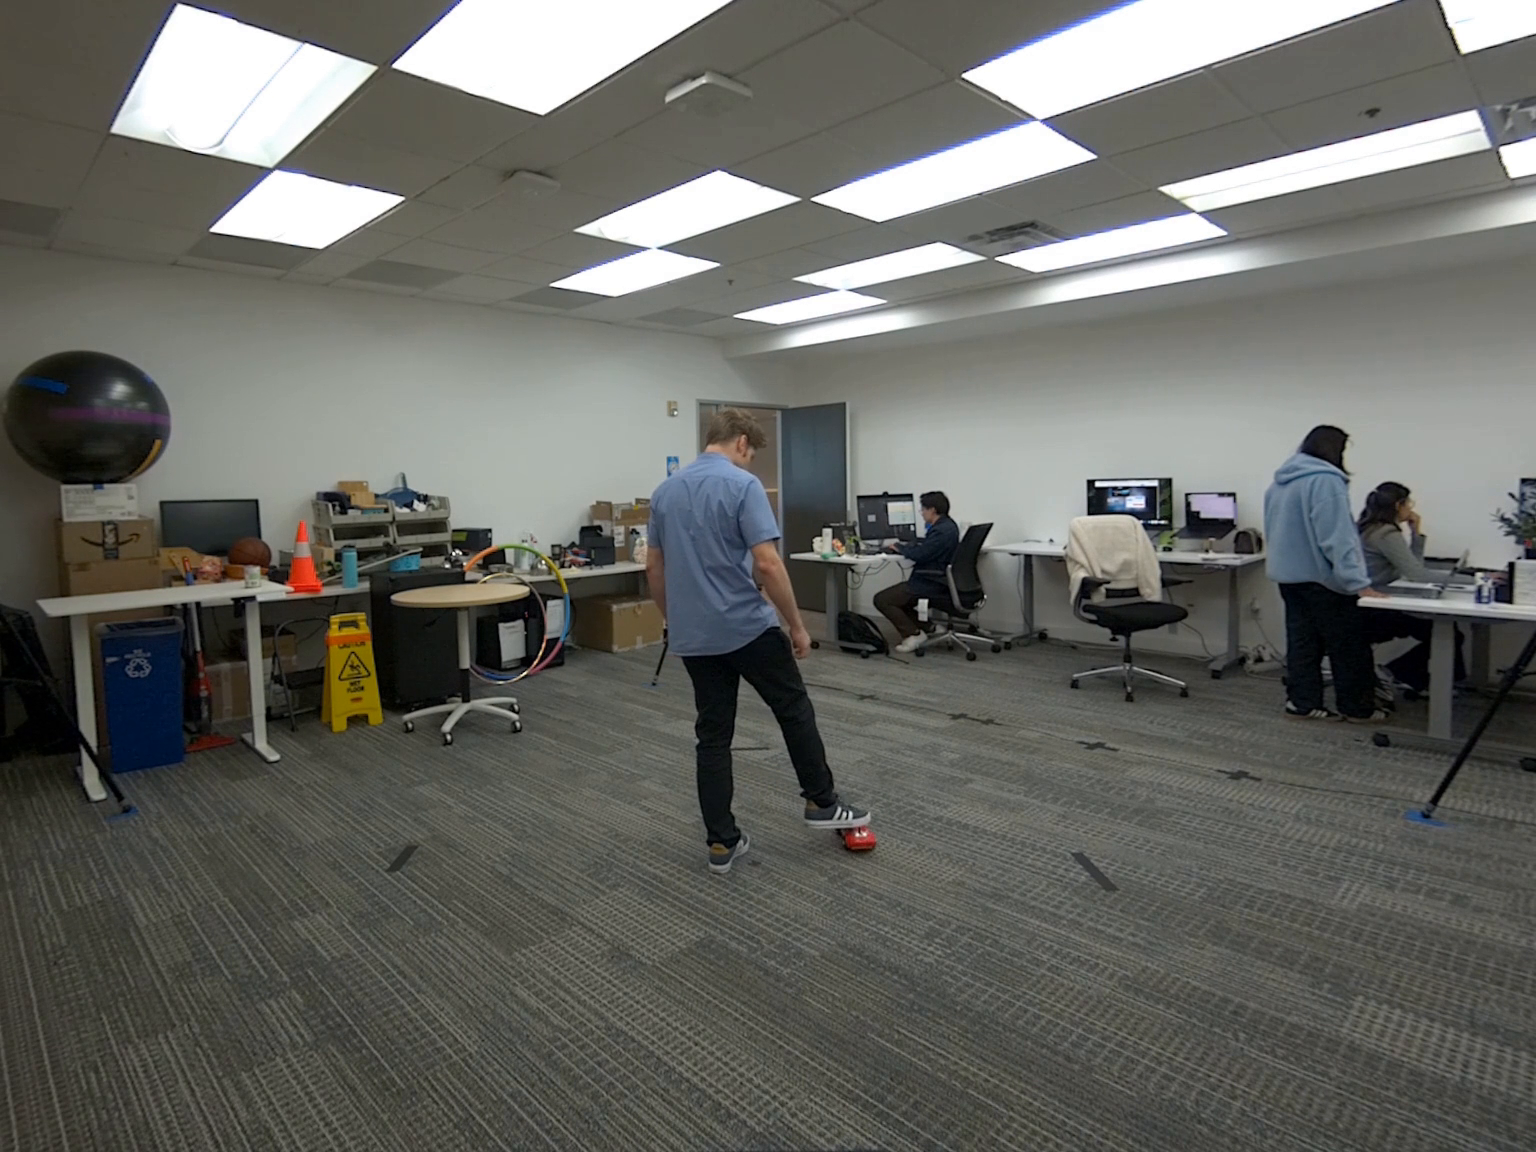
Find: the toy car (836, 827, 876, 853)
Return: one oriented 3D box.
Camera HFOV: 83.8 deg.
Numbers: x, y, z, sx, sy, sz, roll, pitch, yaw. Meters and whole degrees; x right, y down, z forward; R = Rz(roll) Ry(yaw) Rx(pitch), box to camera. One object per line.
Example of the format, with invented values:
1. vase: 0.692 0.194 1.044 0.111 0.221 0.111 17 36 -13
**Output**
1. toy car: 0.337 0.991 3.261 0.129 0.084 0.254 -1 -5 -7
